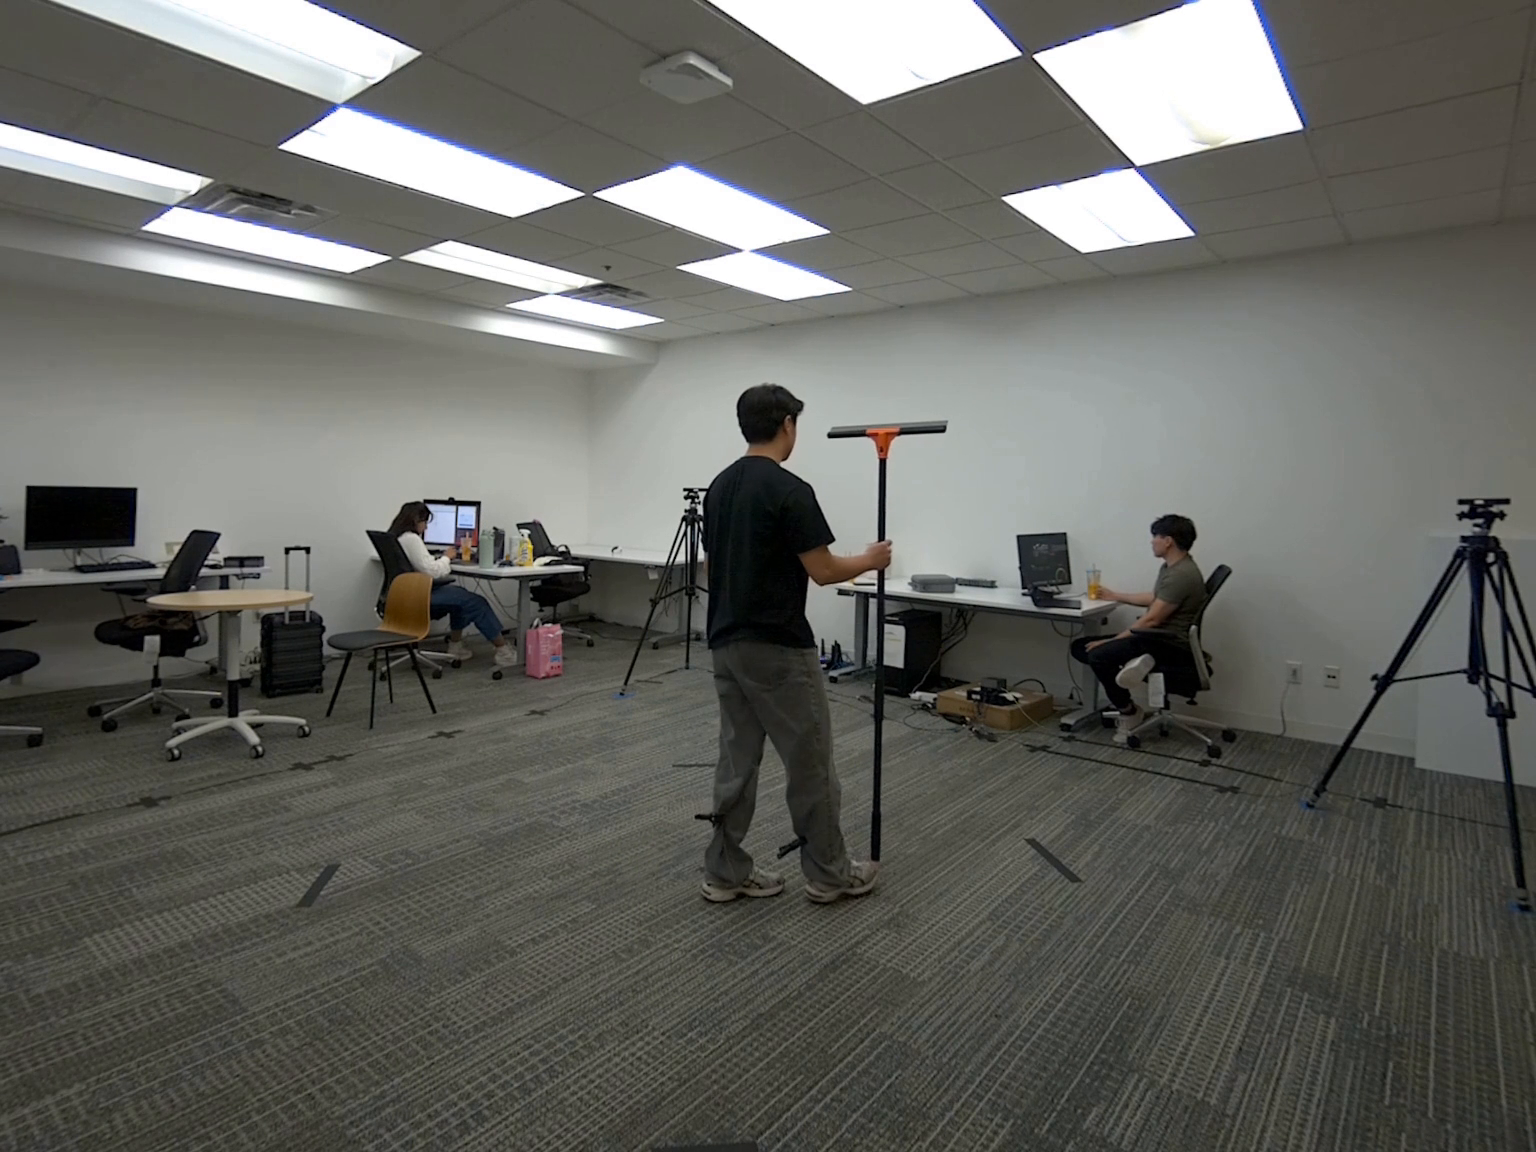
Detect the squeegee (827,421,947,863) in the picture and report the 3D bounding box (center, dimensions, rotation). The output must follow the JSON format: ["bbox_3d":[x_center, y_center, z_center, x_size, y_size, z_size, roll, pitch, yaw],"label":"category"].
[{"bbox_3d":[0.383,0.246,2.950,0.451,1.539,0.051,2,-1,34],"label":"squeegee"}]
